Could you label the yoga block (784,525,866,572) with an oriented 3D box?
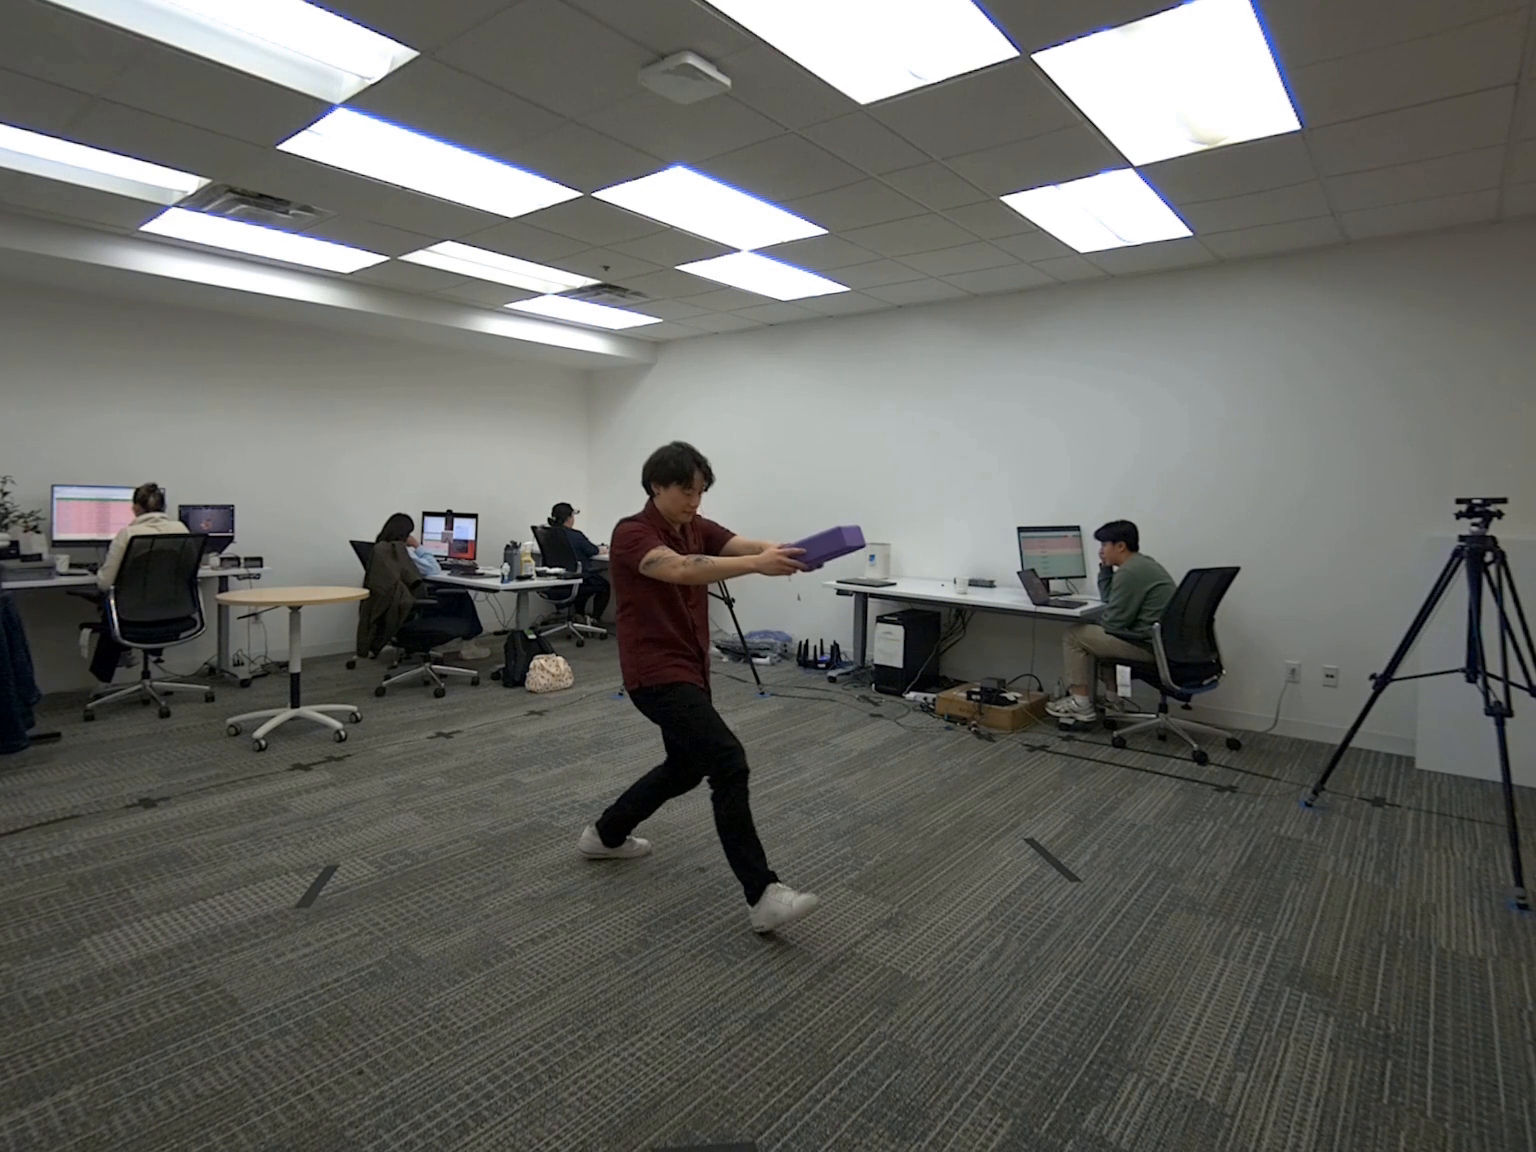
[{"bbox_3d":[0.160,-0.077,2.608,0.233,0.077,0.145,-20,-7,32],"label":"yoga block"}]
